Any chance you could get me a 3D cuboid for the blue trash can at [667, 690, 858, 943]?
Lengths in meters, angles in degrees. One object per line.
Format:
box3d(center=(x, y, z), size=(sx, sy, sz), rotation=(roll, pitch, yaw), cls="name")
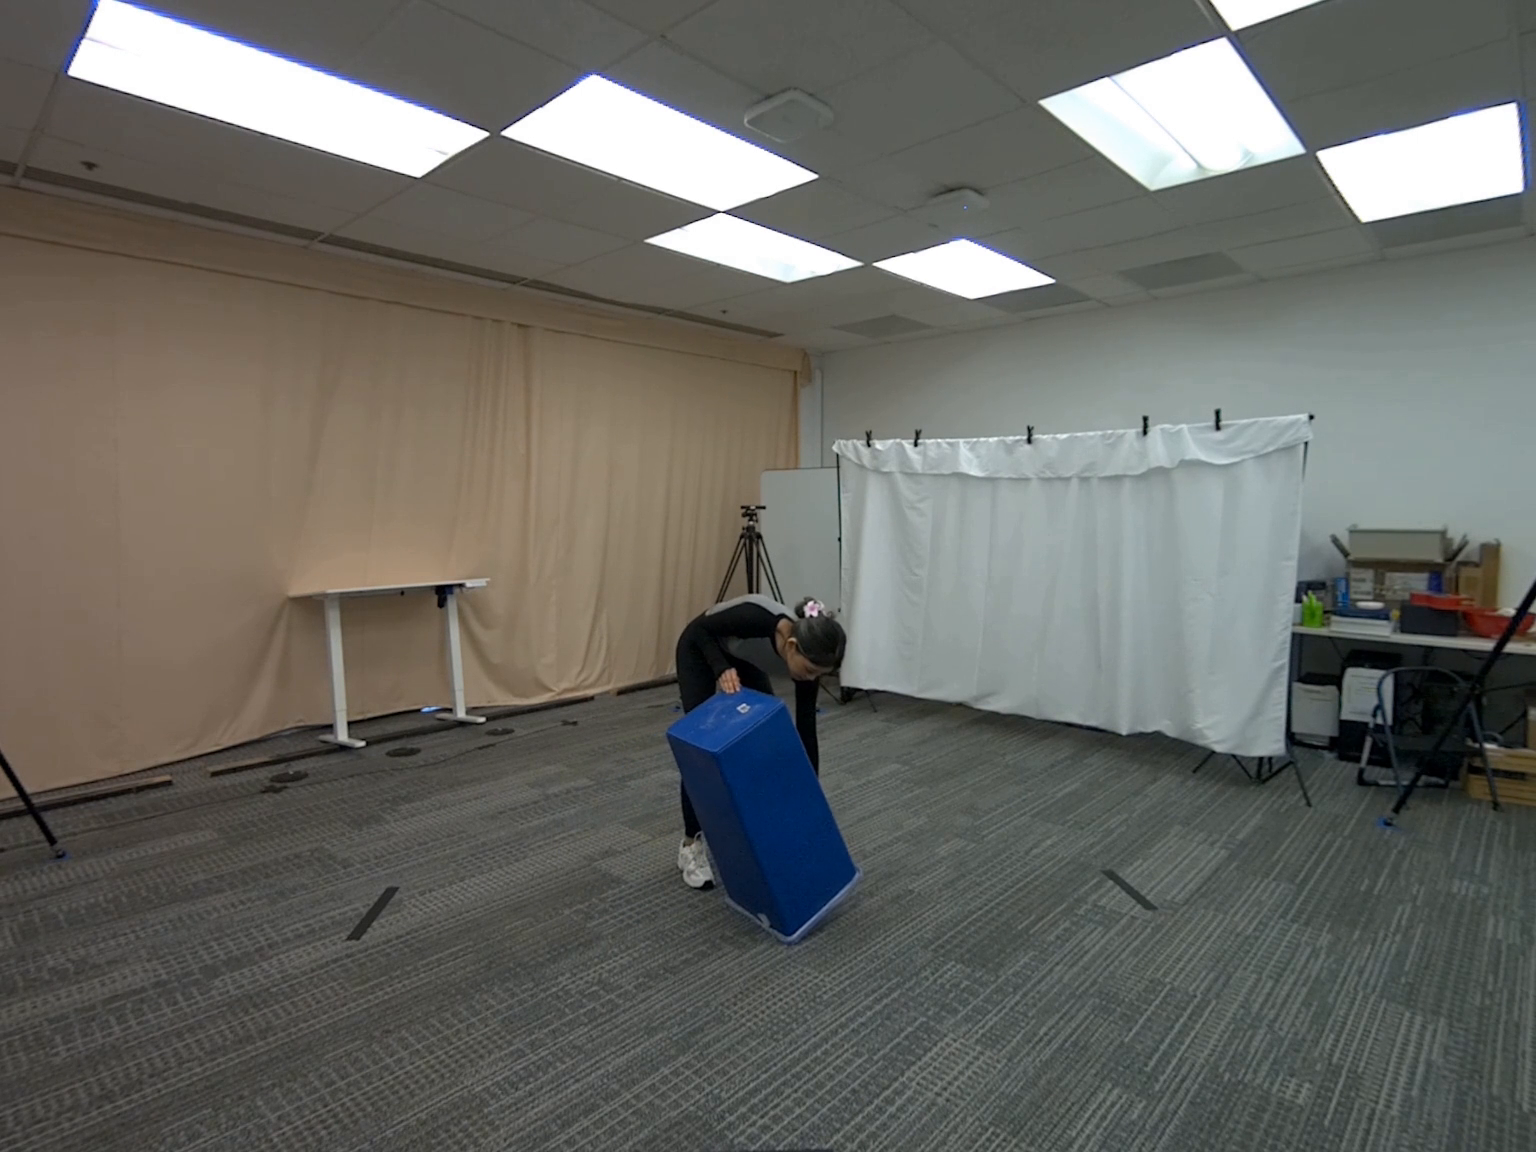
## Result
box3d(center=(-0.017, 0.771, 2.788), size=(0.368, 0.702, 0.390), rotation=(-30, 20, -30), cls="blue trash can")
